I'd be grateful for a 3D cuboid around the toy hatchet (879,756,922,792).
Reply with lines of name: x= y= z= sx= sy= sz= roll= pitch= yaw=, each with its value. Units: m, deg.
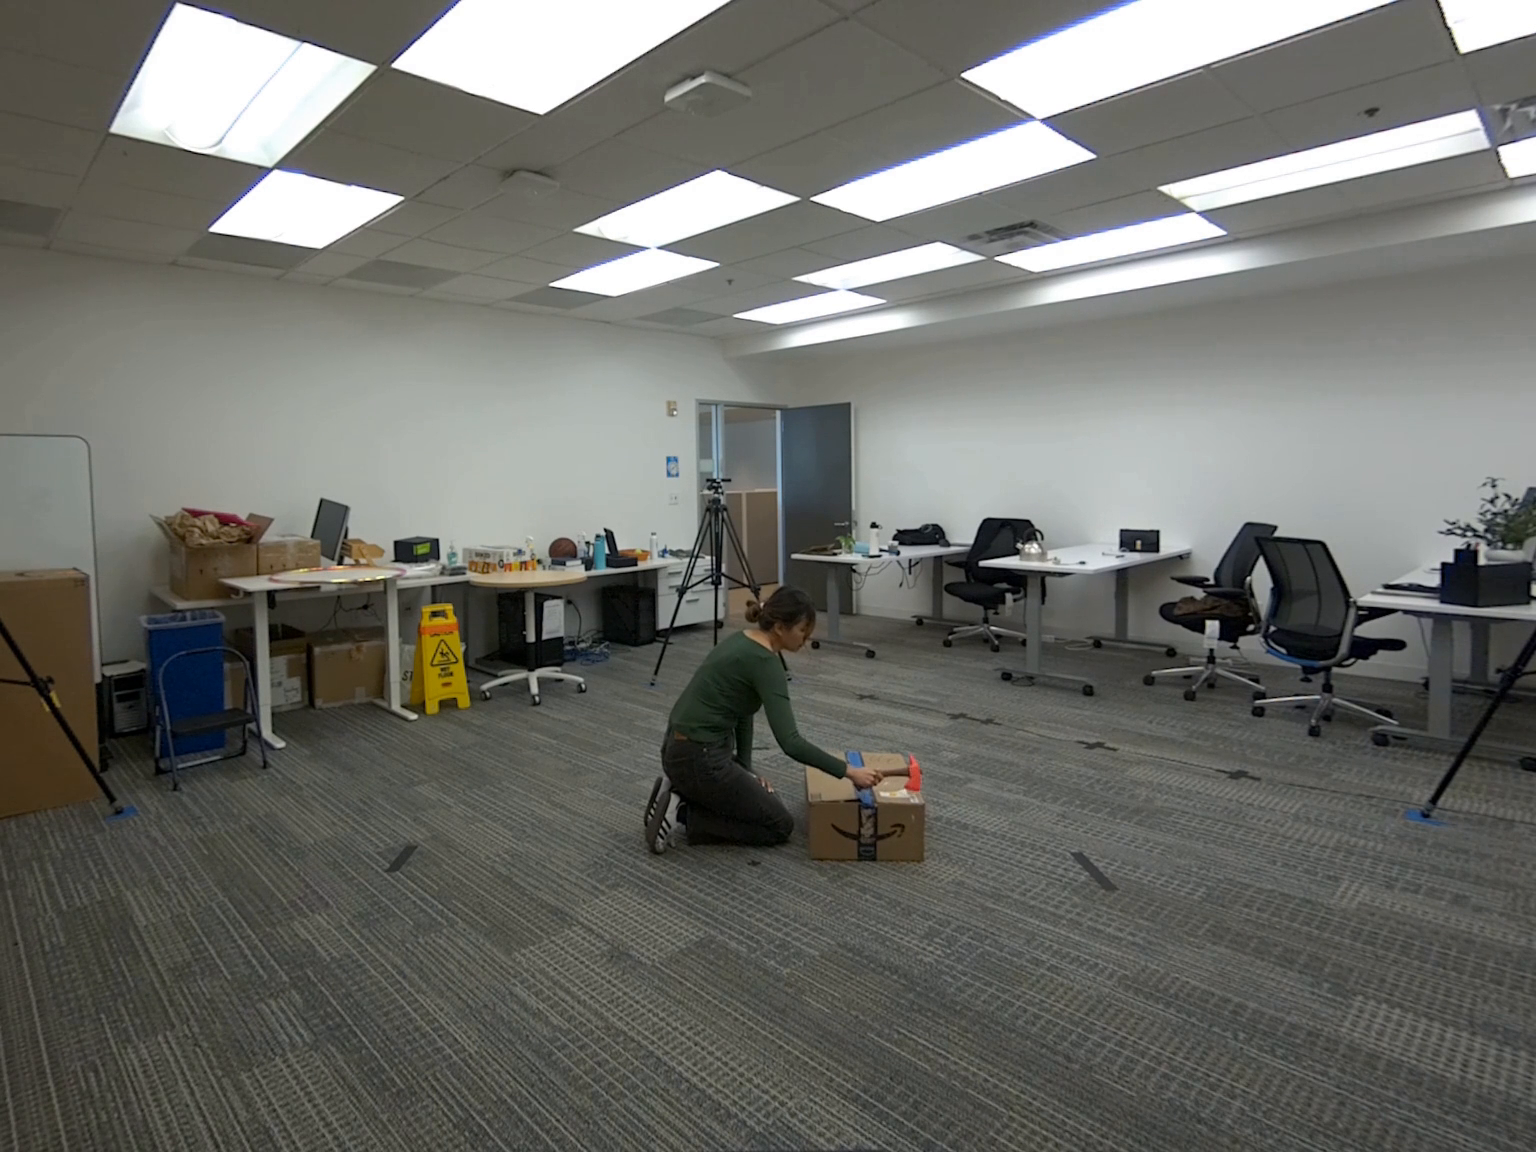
toy hatchet: x=0.434 y=0.763 z=3.118 sx=0.268 sy=0.133 sz=0.029 roll=-21 pitch=-14 yaw=-15
